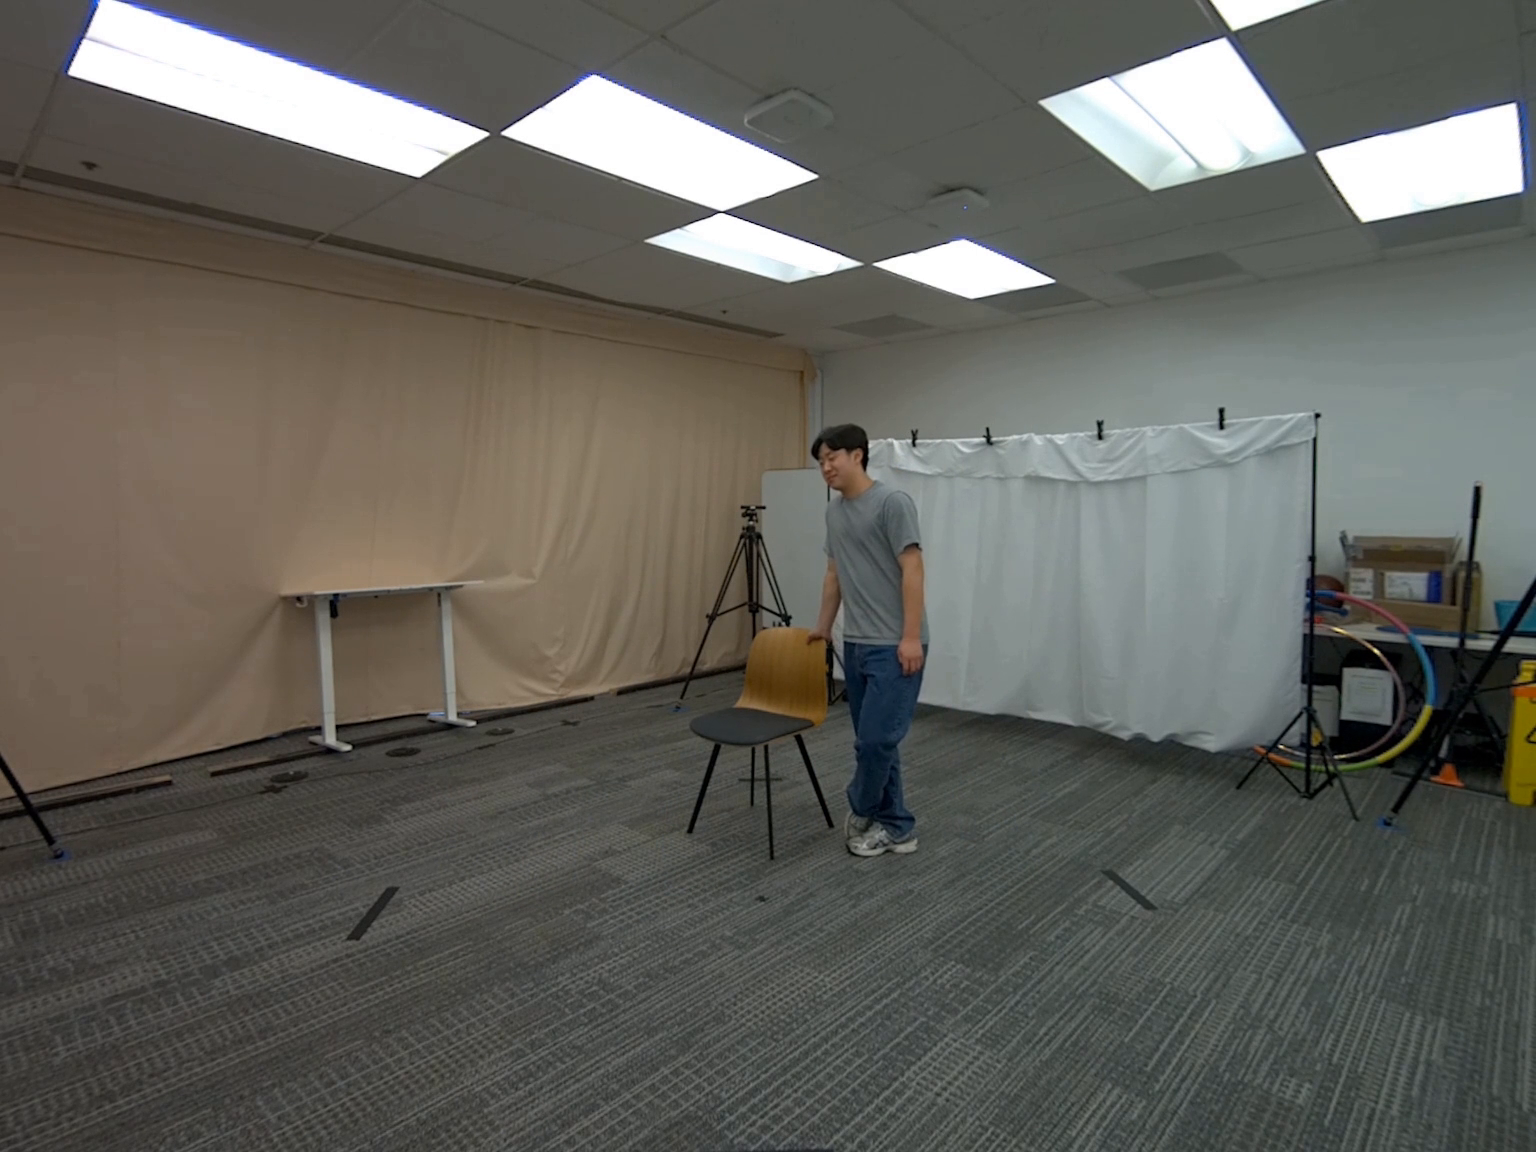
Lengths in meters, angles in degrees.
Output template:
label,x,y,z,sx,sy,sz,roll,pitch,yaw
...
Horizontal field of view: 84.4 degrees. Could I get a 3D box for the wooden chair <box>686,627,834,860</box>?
label,x,y,z,sx,sy,sz,roll,pitch,yaw
wooden chair,-0.035,0.667,3.585,0.493,0.877,0.506,2,-1,38
